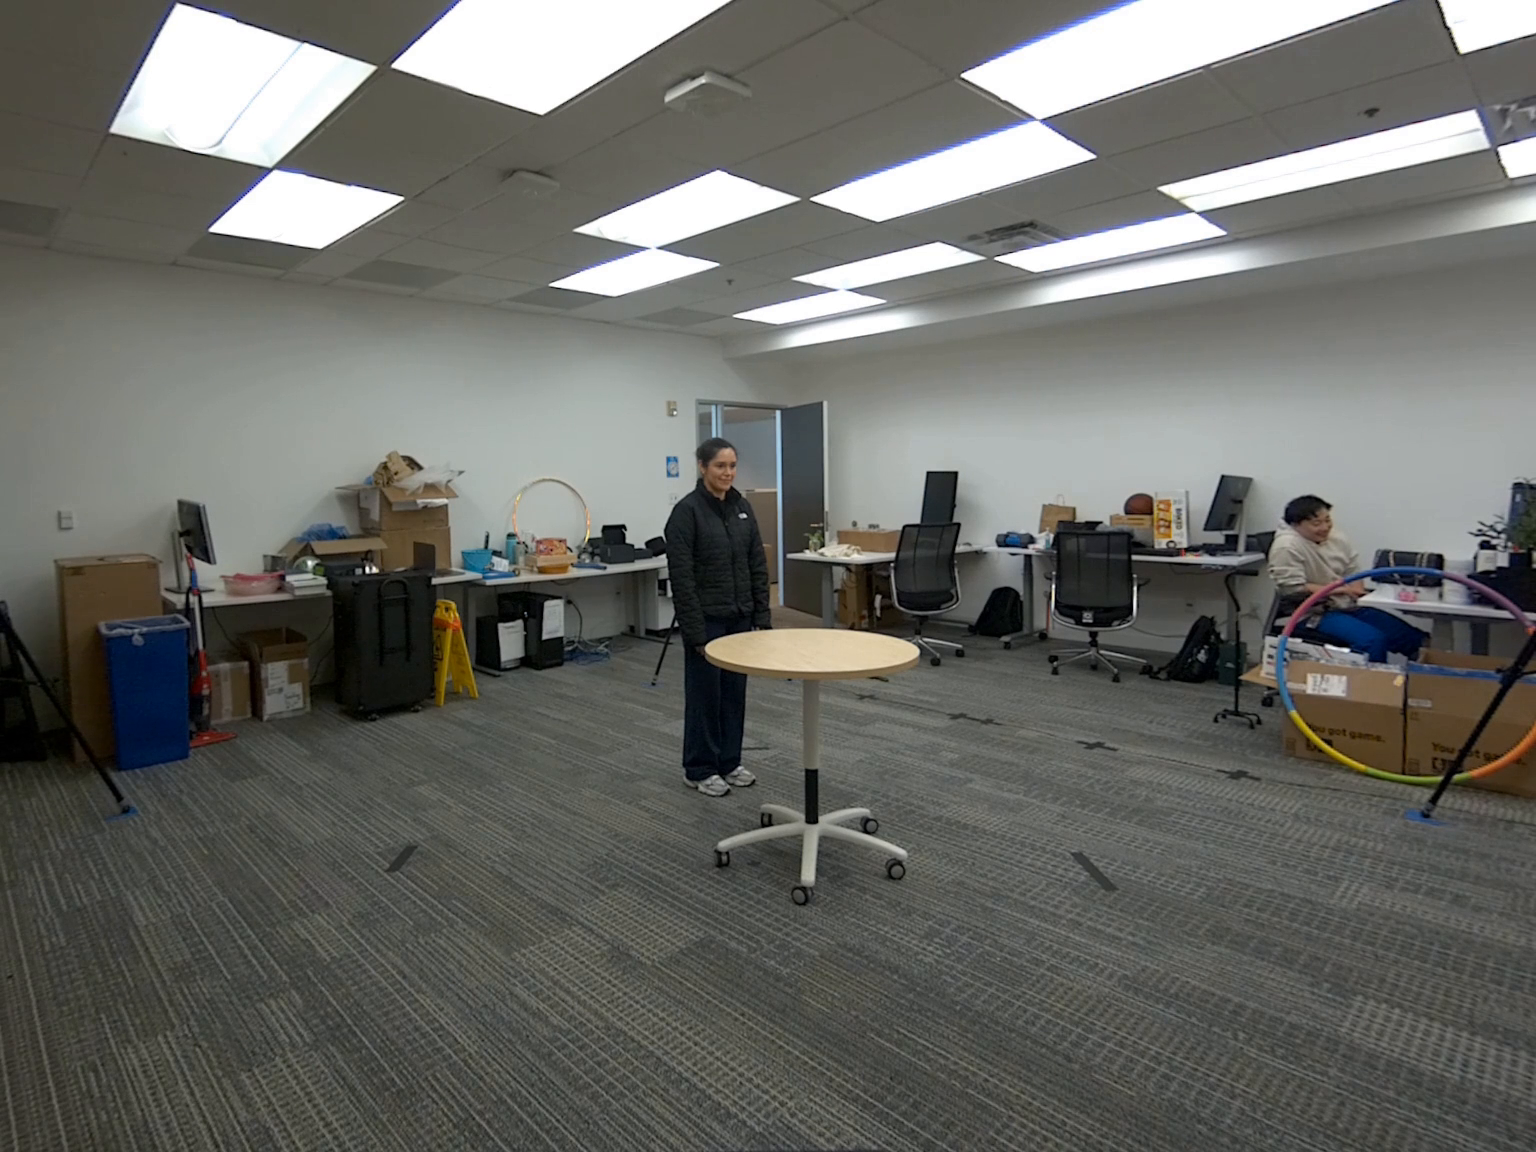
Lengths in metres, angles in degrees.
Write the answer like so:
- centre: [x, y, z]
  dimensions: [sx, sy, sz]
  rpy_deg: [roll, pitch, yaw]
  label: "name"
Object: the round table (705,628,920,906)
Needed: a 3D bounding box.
- centre: [0.155, 0.646, 3.134]
  dimensions: [0.784, 0.783, 0.789]
  rpy_deg: [0, 5, -2]
  label: "round table"
